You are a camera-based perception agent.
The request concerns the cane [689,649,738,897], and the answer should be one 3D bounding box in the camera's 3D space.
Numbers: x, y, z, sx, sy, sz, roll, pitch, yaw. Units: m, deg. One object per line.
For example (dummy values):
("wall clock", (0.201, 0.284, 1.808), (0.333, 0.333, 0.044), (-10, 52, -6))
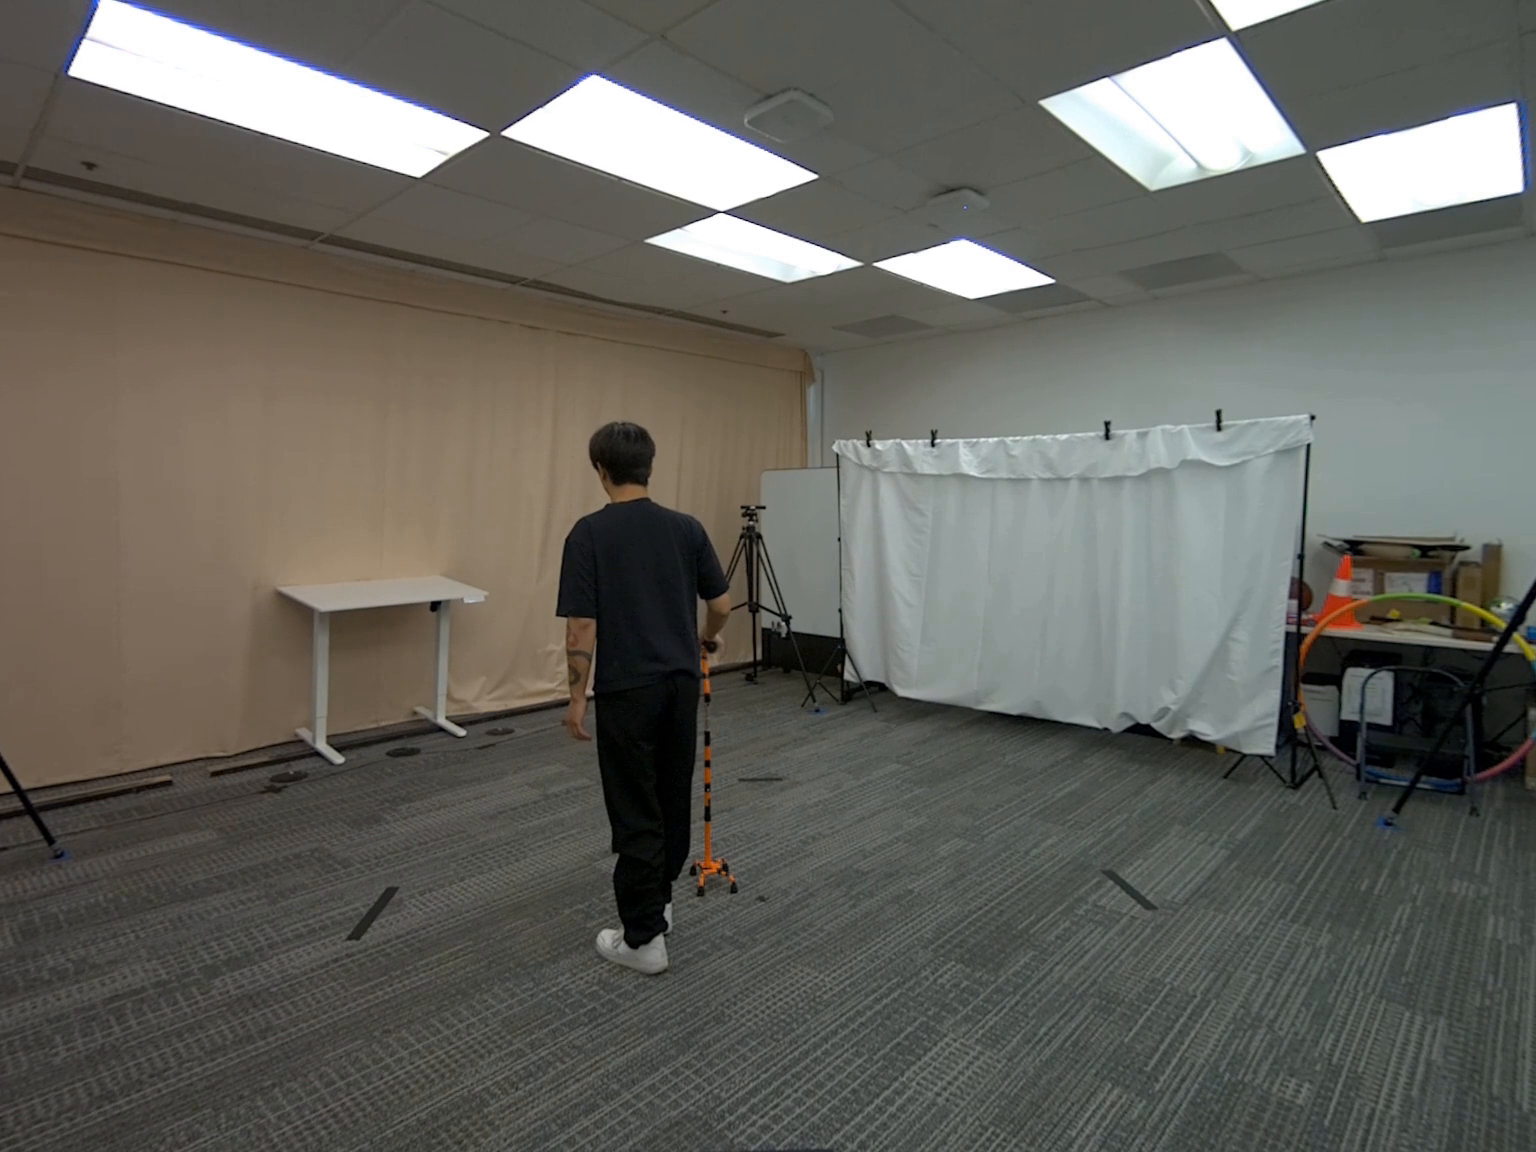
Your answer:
("cane", (-0.203, 0.687, 3.078), (0.149, 0.906, 0.210), (-1, 4, -14))
